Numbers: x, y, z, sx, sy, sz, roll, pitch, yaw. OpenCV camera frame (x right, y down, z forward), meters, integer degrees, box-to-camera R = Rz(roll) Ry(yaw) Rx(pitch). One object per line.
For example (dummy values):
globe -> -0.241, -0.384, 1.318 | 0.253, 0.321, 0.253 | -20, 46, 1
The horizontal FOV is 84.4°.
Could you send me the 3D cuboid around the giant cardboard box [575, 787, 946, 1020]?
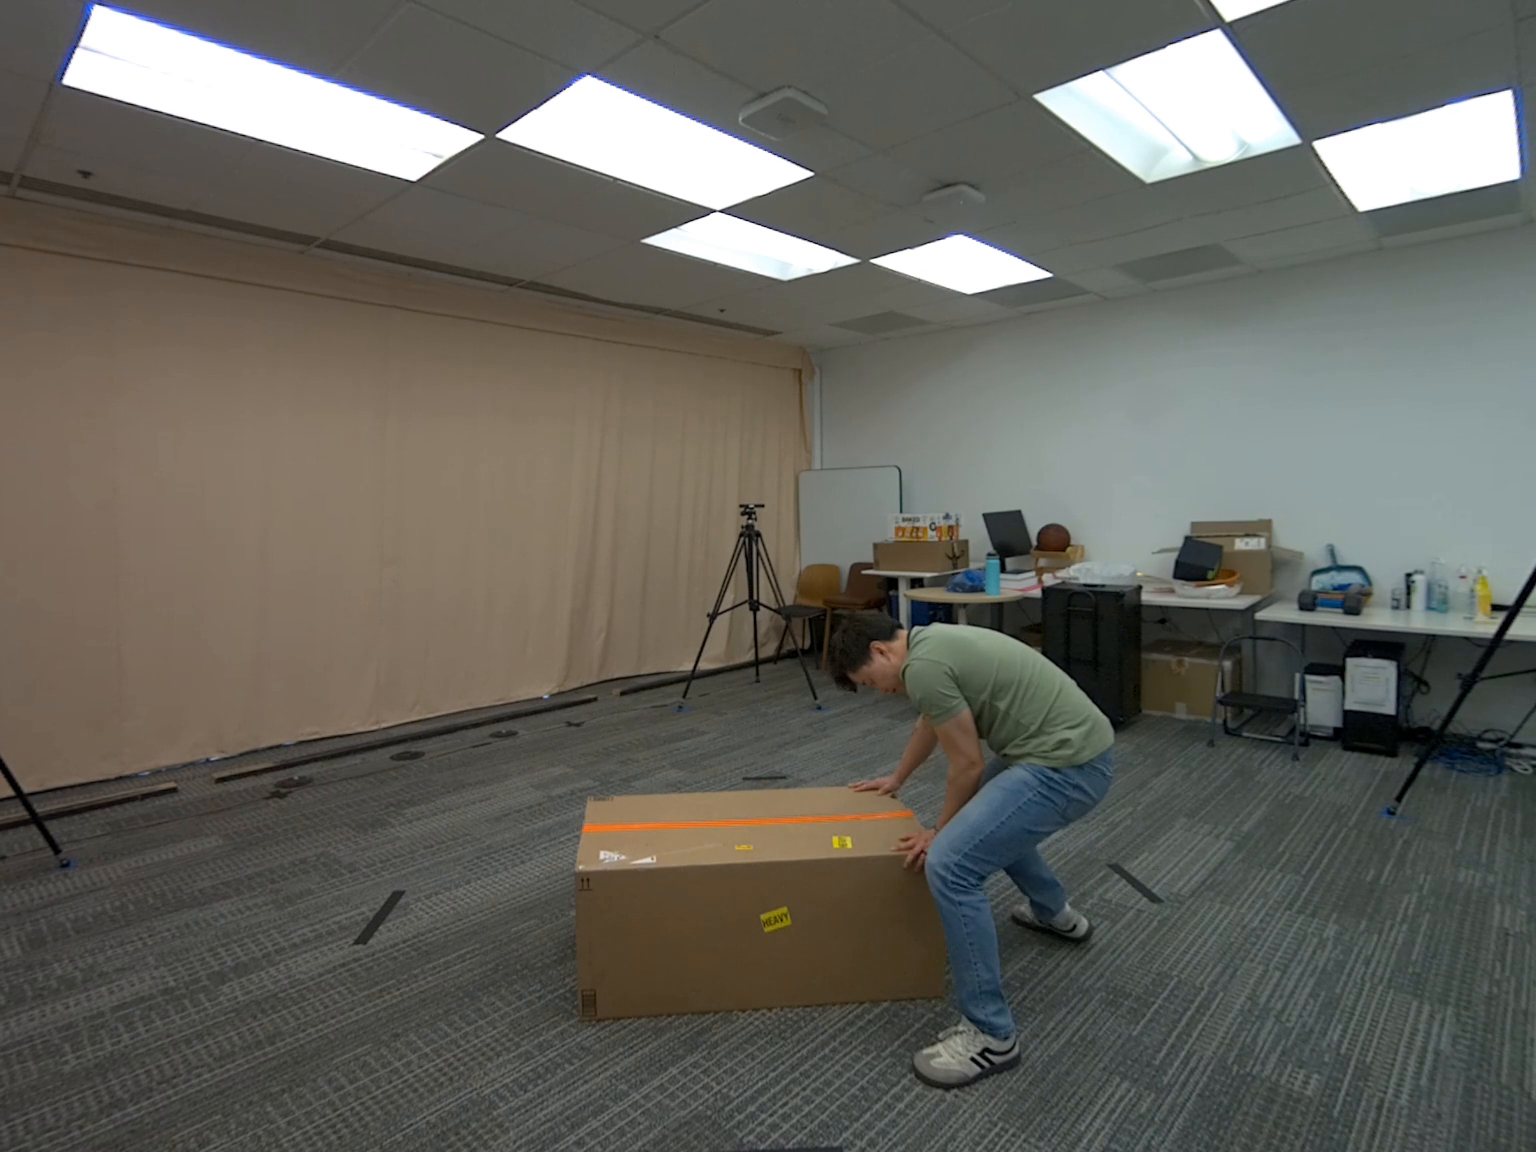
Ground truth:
giant cardboard box -> -0.057, 0.961, 2.592 | 1.020, 0.425, 0.582 | -1, 5, -6
